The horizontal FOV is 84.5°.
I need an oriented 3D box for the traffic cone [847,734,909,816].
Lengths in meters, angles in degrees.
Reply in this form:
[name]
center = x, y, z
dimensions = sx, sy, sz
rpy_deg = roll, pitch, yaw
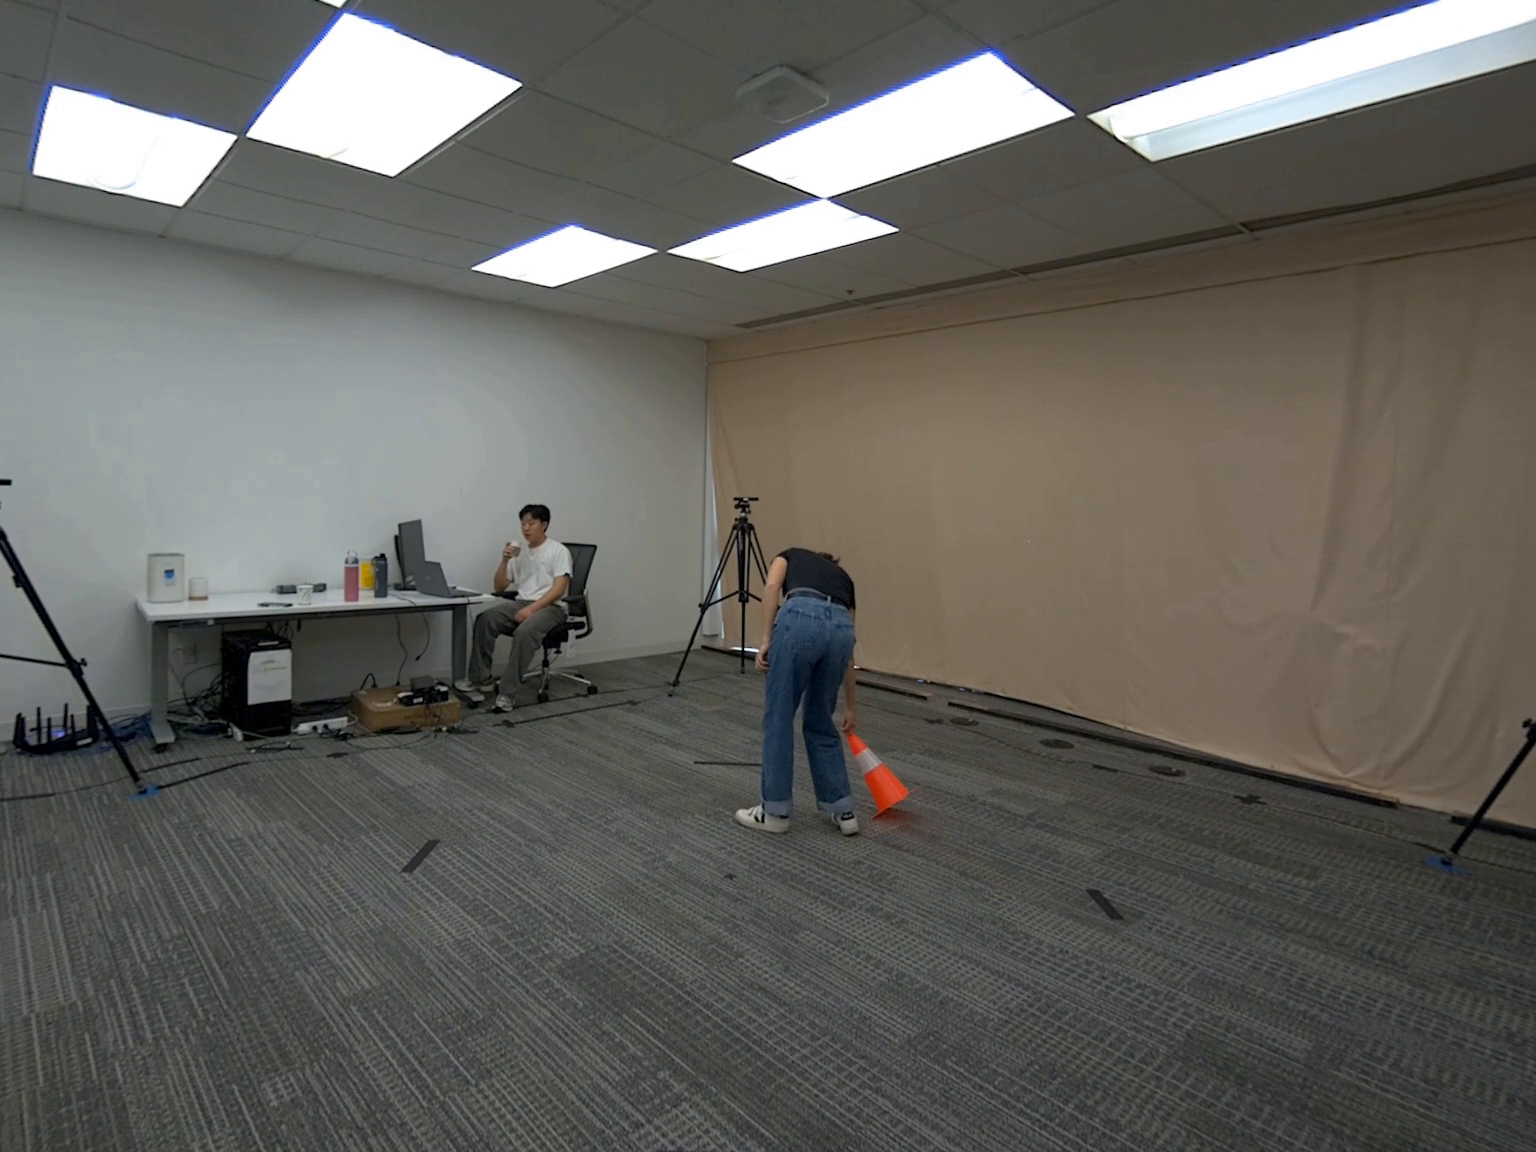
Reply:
[traffic cone]
center = 0.450, 0.861, 3.798
dimensions = 0.205, 0.391, 0.199
rpy_deg = -40, -20, 21
